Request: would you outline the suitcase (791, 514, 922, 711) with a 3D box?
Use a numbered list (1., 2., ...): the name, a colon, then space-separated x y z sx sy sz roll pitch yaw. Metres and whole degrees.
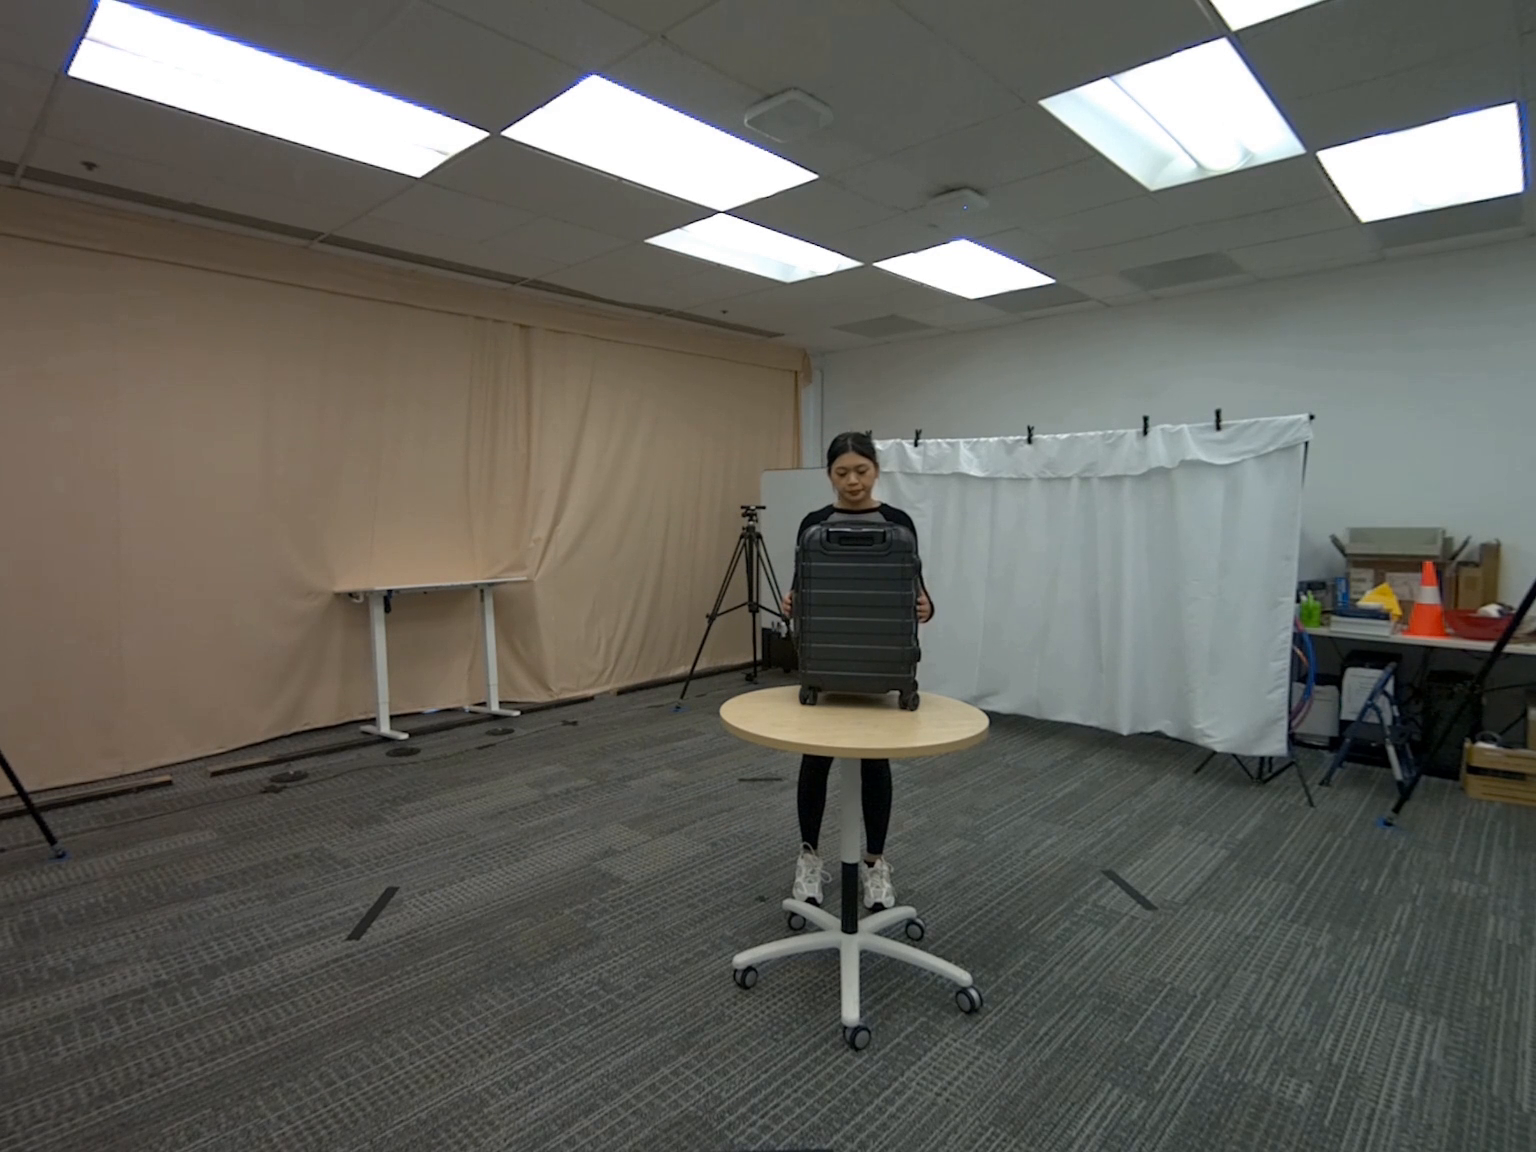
1. suitcase: 0.272 0.107 2.585 0.380 0.548 0.245 1 4 12
